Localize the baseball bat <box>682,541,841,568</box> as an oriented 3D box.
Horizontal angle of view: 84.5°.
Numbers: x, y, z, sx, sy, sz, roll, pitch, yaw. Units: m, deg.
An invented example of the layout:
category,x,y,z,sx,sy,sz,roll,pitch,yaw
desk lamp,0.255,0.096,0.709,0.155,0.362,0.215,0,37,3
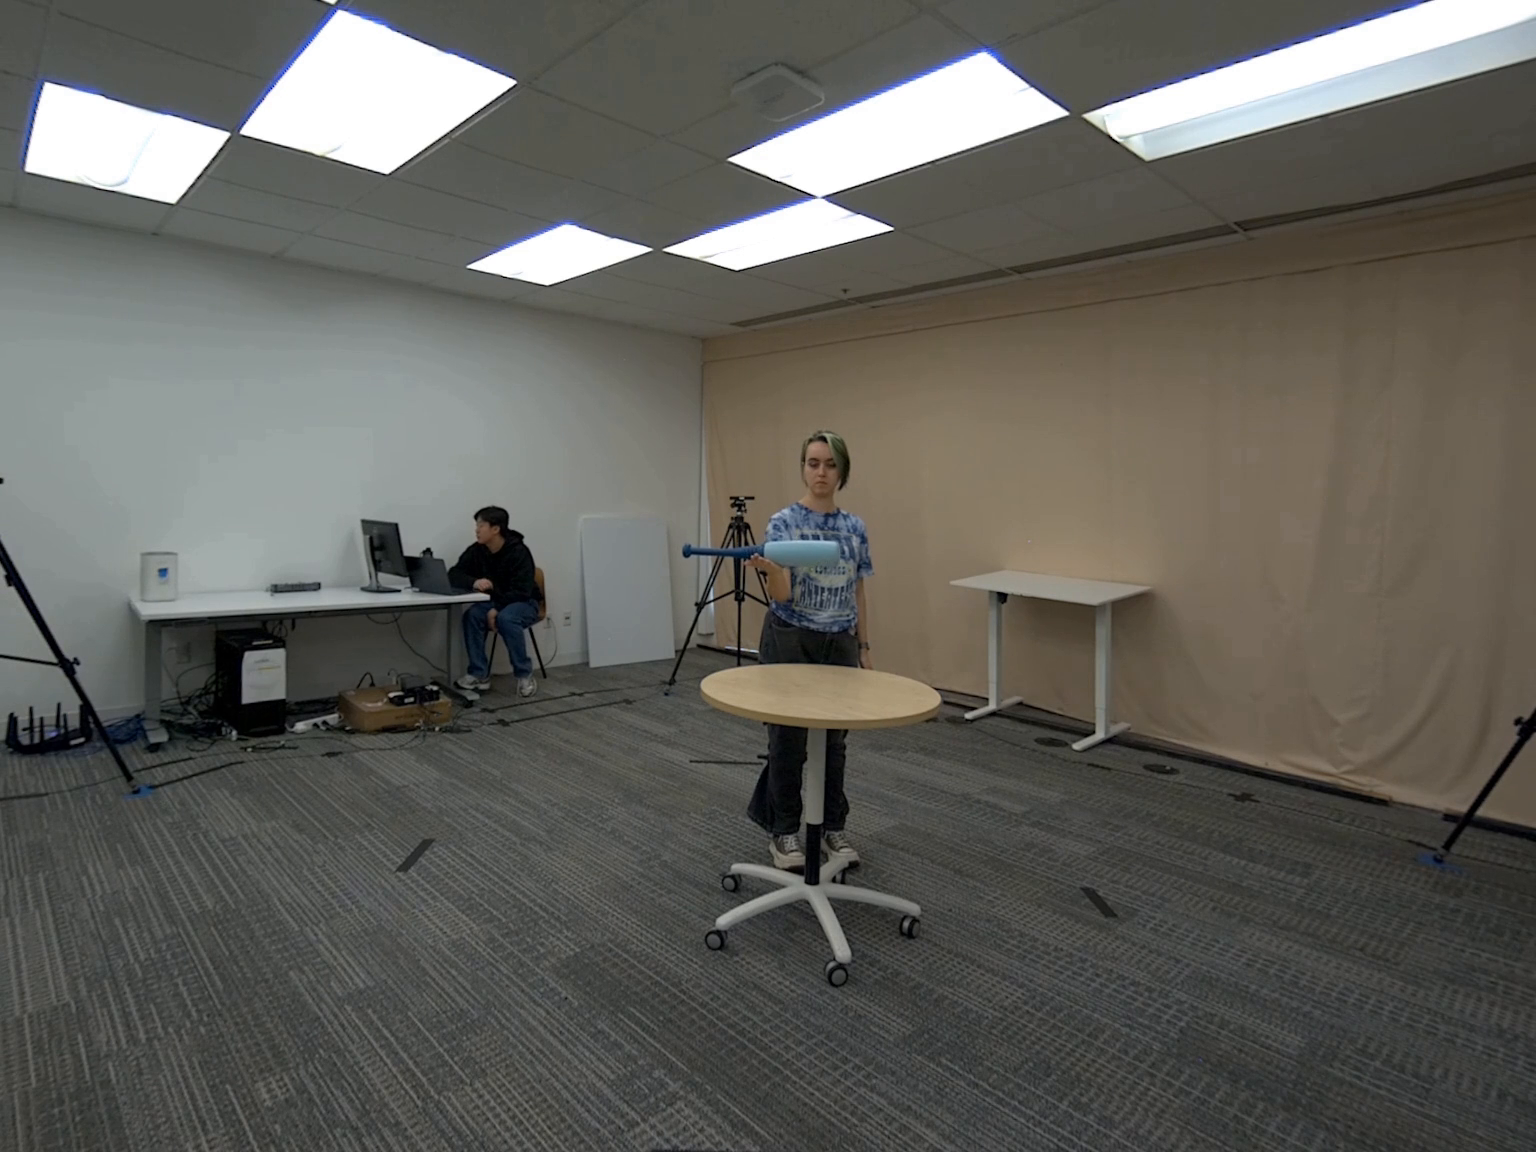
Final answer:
category,x,y,z,sx,sy,sz,roll,pitch,yaw
baseball bat,-0.022,-0.075,2.851,0.548,0.089,0.088,2,4,12
